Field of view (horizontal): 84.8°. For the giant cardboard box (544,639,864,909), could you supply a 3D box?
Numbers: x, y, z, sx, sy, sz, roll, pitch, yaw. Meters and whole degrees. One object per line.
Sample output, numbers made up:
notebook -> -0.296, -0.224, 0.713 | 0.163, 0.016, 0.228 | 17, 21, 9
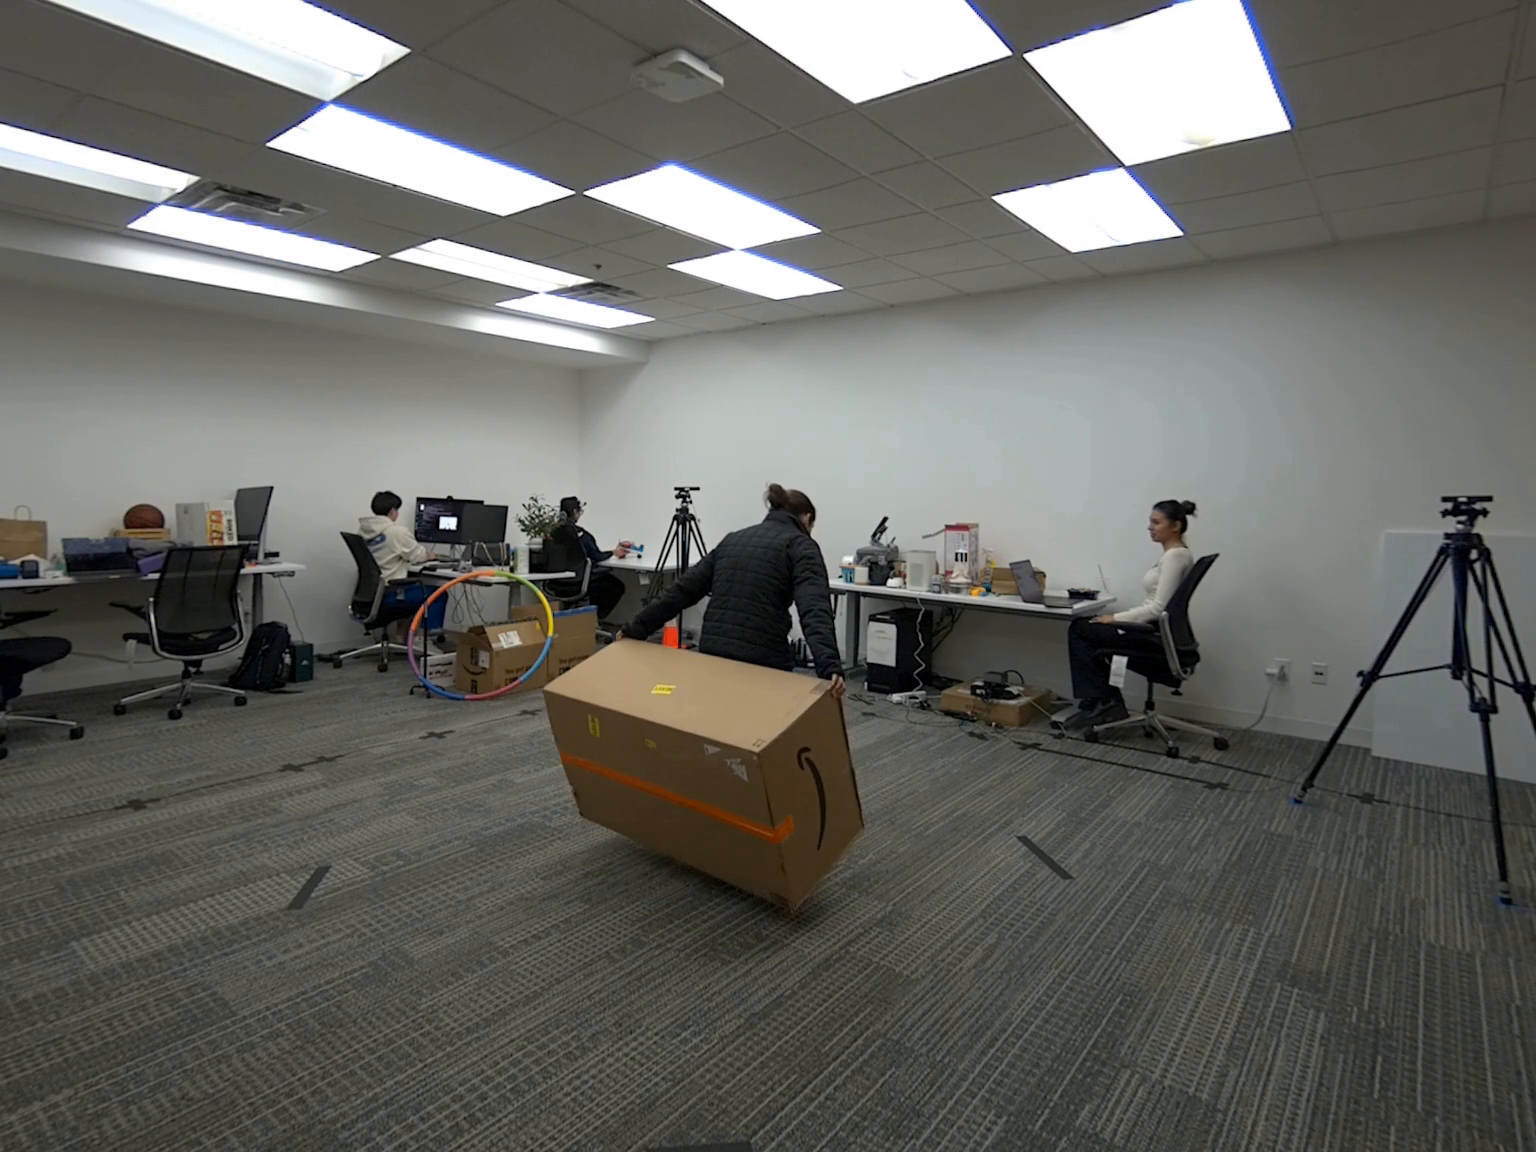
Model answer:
giant cardboard box -> -0.240, 0.632, 2.993 | 1.061, 0.566, 0.420 | 6, 25, 41
